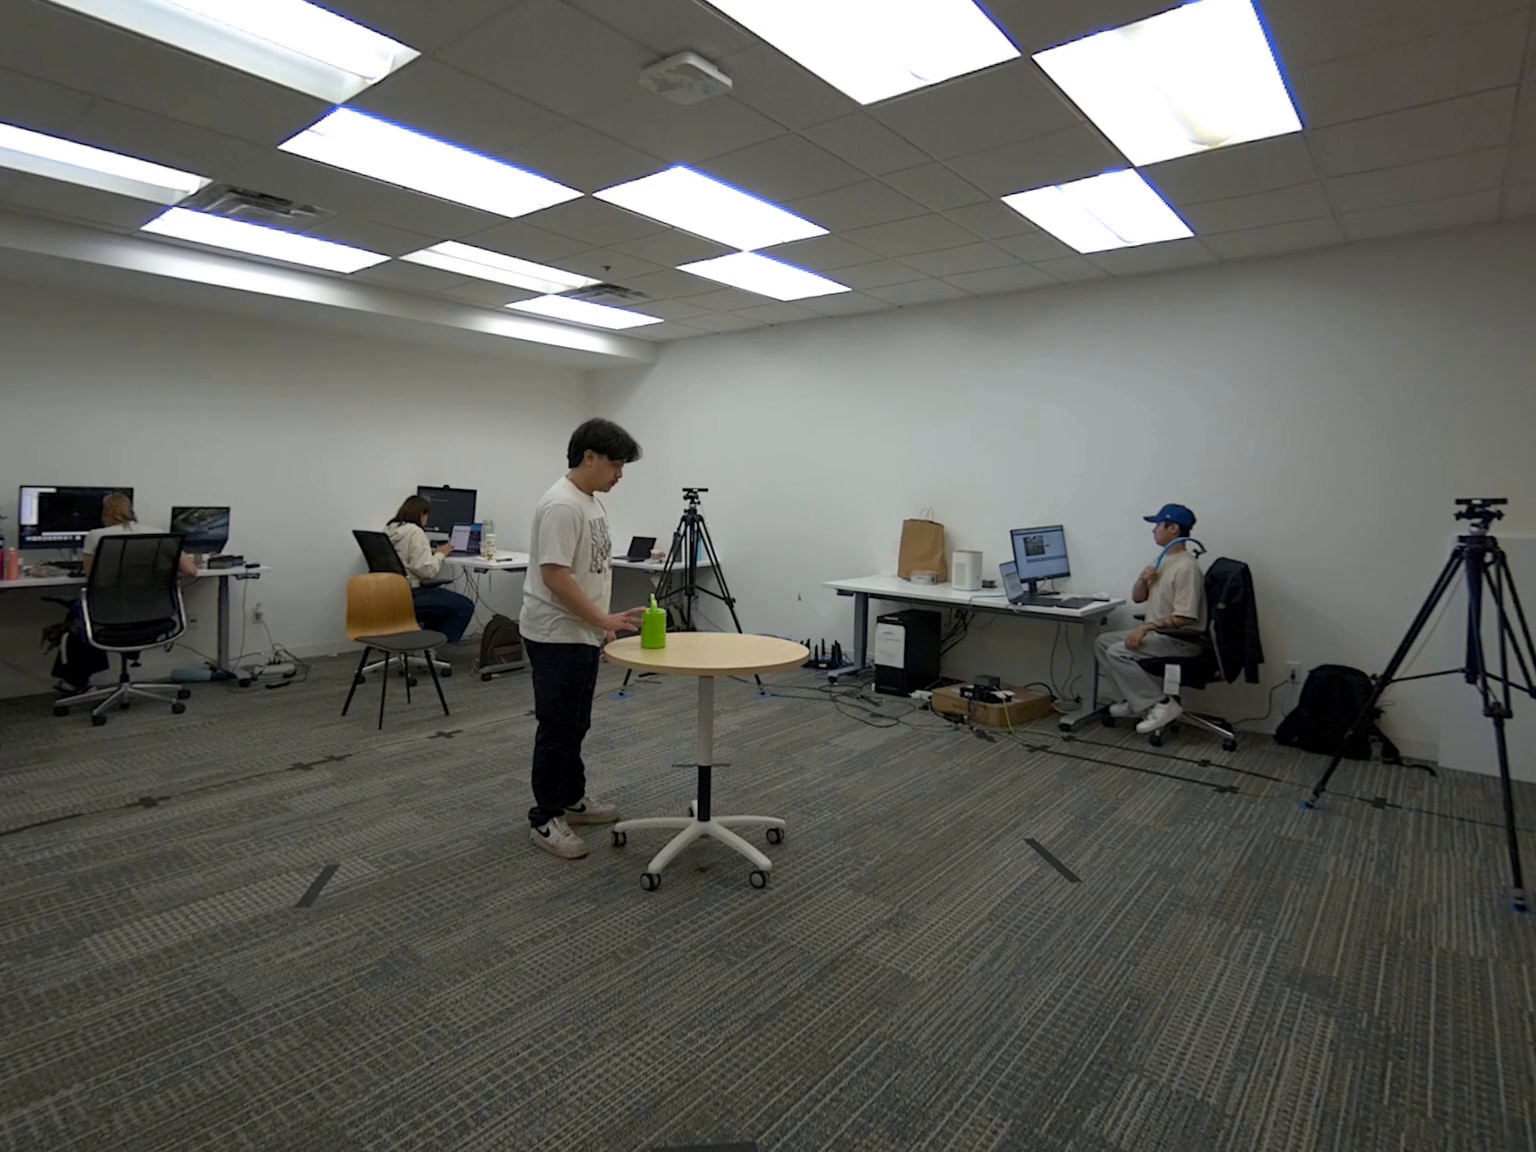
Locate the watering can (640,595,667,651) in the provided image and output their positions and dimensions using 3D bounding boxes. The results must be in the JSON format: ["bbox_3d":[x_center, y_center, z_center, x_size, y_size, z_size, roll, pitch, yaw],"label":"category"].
[{"bbox_3d":[-0.447,0.178,3.258,0.098,0.176,0.279,1,5,0],"label":"watering can"}]
